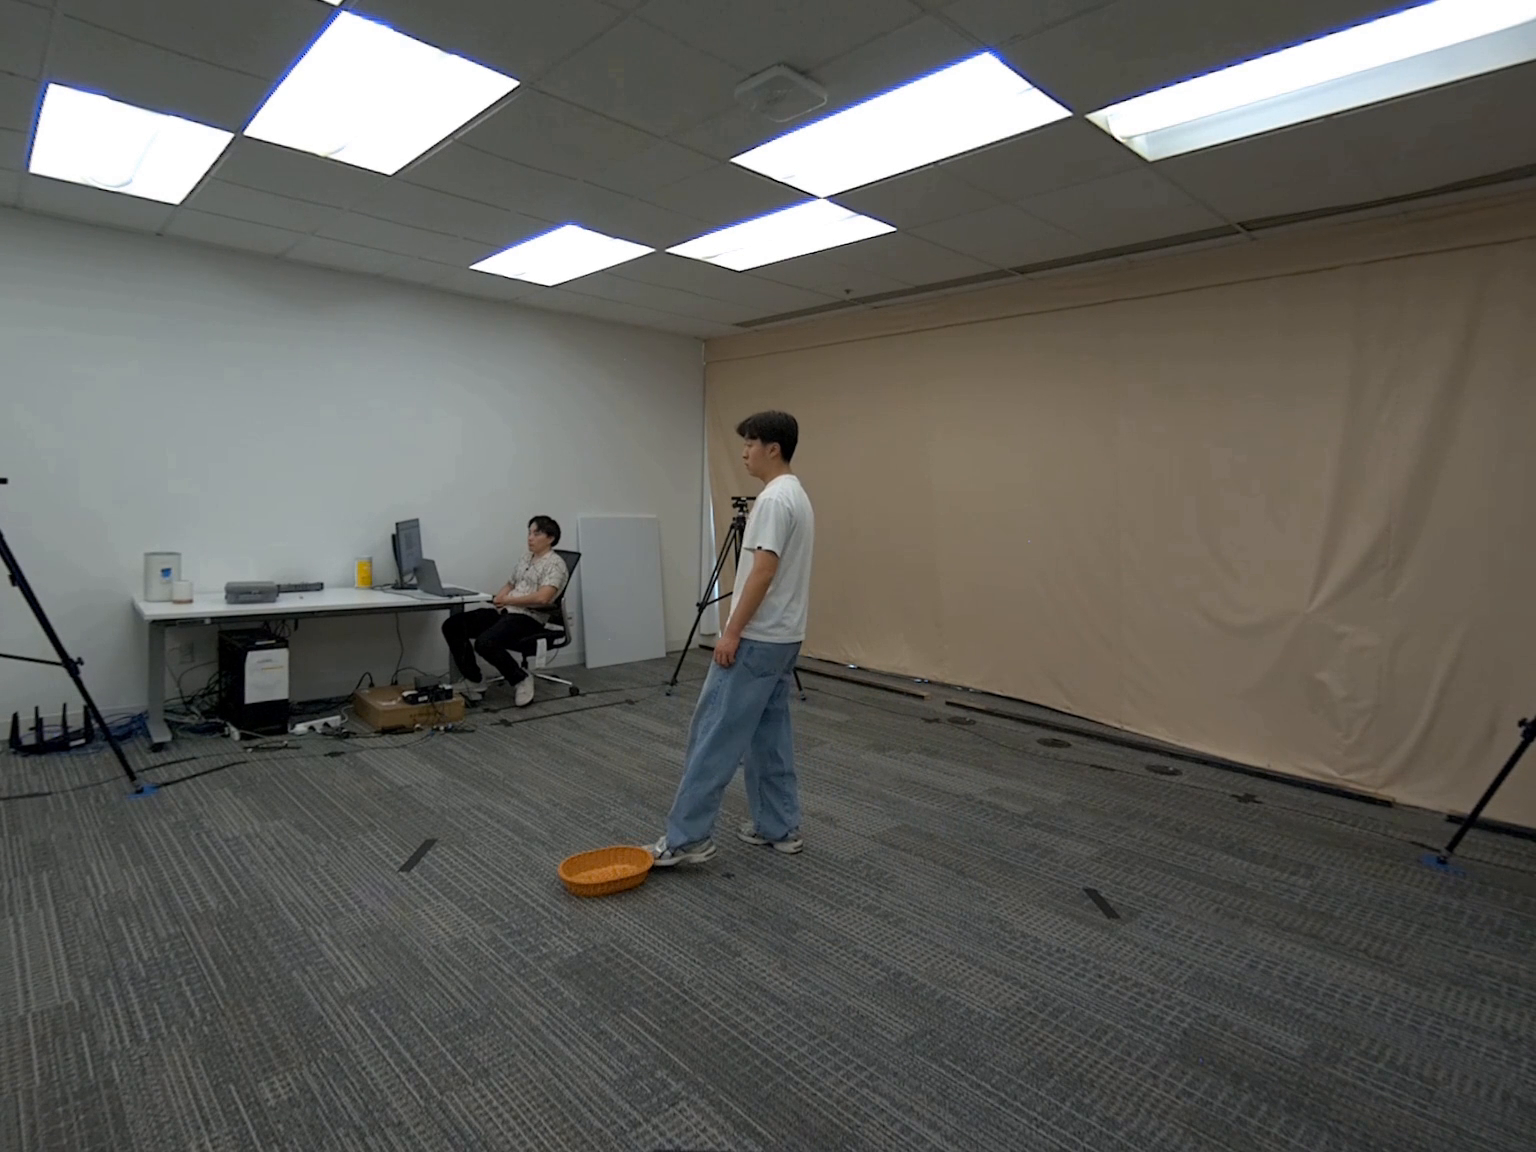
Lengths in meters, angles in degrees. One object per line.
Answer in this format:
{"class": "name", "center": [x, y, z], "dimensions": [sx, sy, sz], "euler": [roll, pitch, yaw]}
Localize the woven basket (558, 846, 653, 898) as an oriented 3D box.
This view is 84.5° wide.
{"class": "woven basket", "center": [-0.582, 1.061, 3.023], "dimensions": [0.345, 0.073, 0.257], "euler": [-2, 7, -22]}
